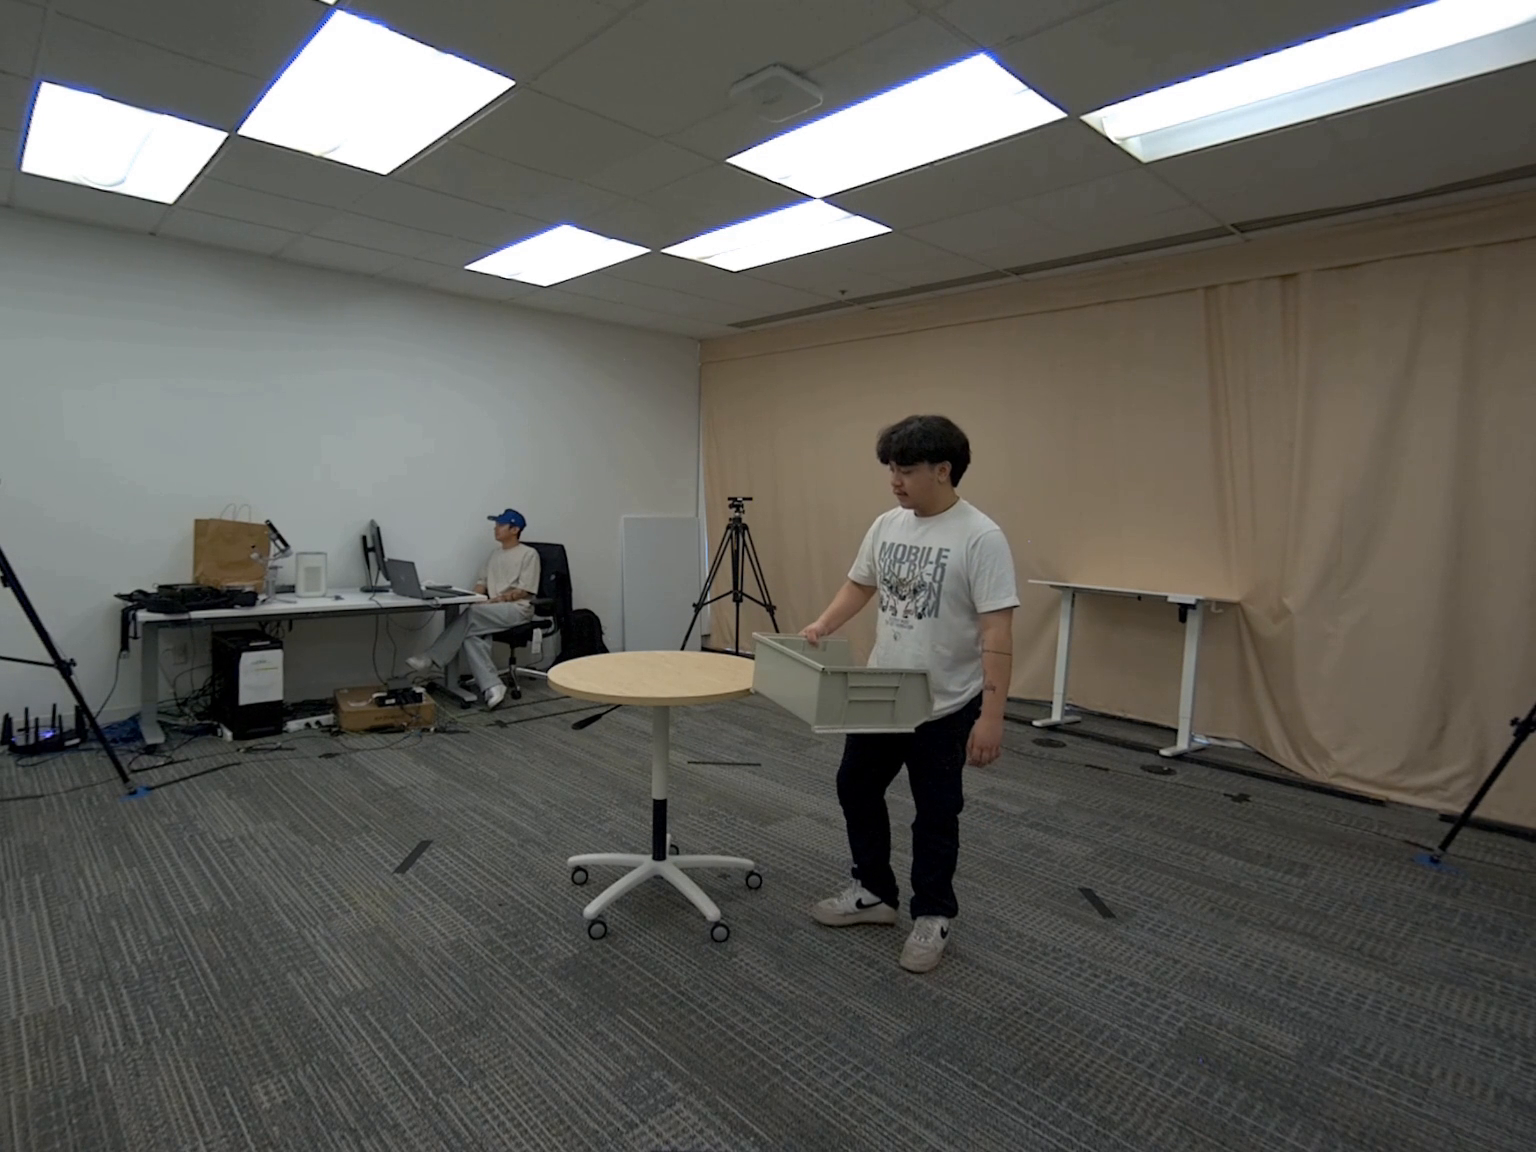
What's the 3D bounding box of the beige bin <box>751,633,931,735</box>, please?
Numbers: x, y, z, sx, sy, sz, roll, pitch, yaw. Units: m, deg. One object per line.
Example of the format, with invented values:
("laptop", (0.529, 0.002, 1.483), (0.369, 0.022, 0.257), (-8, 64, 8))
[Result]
("beige bin", (0.201, 0.305, 2.425), (0.370, 0.188, 0.432), (2, 6, -26))
